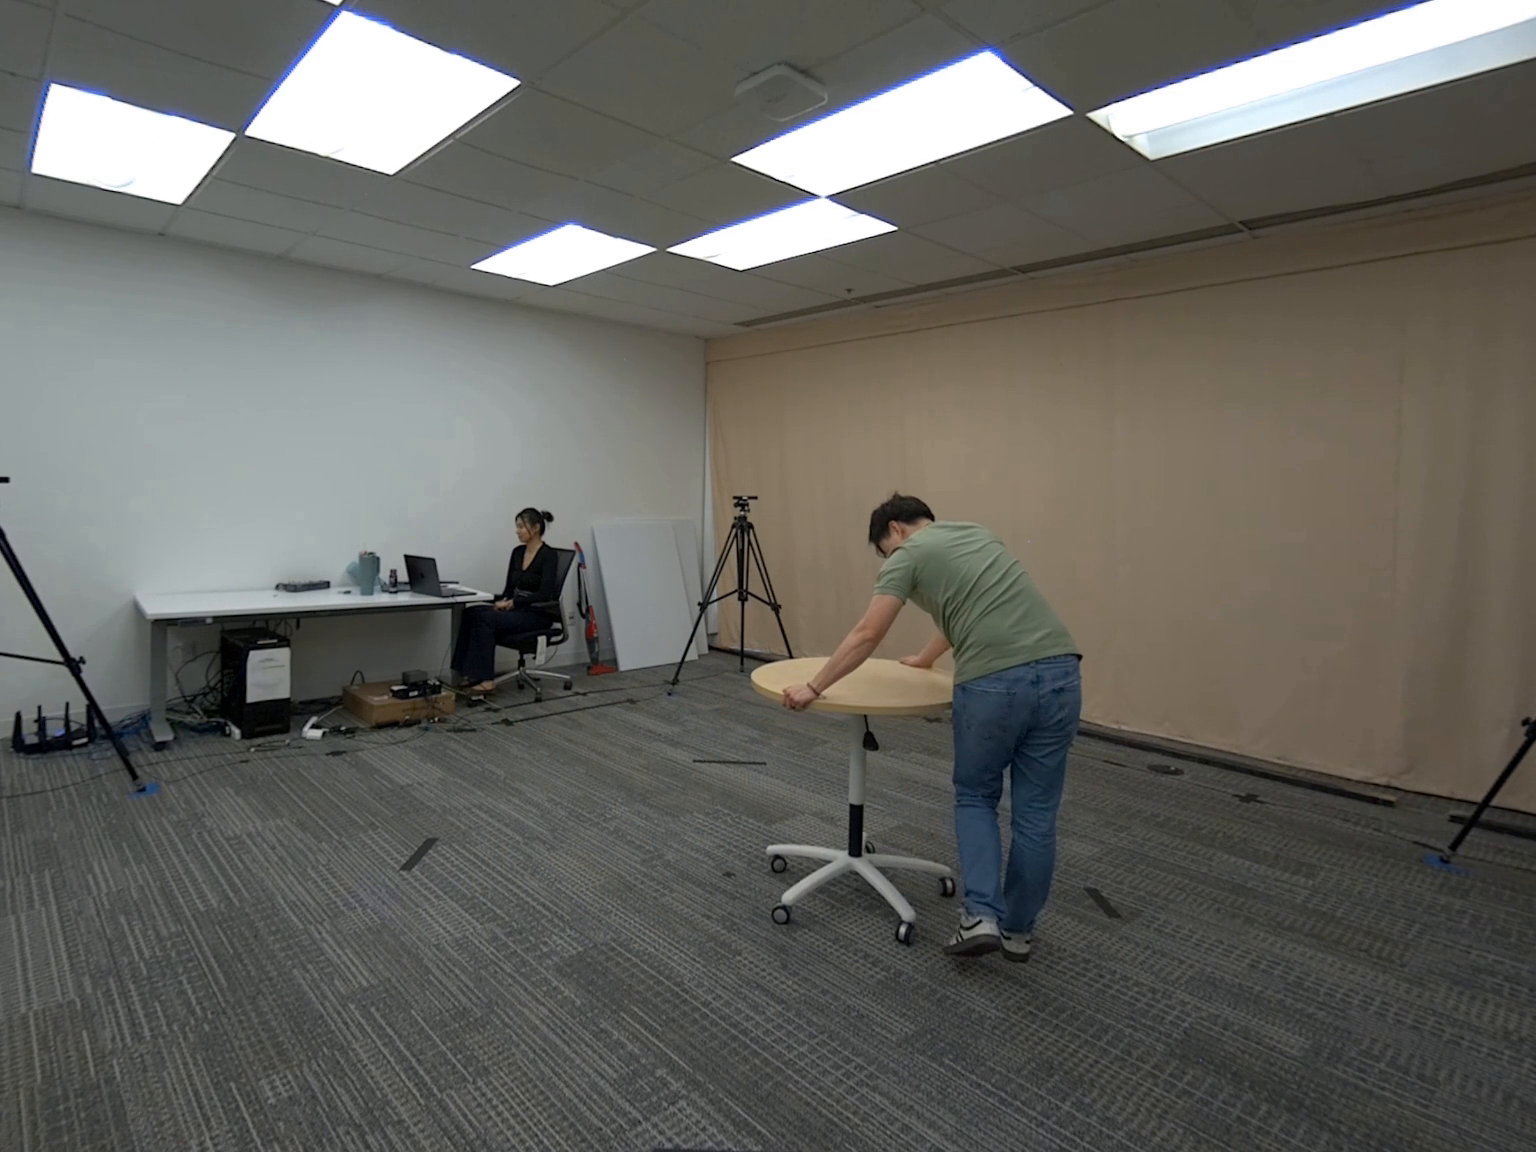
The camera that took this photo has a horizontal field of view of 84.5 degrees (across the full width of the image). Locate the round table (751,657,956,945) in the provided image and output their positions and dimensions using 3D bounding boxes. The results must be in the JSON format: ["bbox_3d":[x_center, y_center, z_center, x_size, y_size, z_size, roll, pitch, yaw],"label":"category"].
[{"bbox_3d":[0.307,0.746,2.957,0.763,0.792,0.767,2,4,-1],"label":"round table"}]
